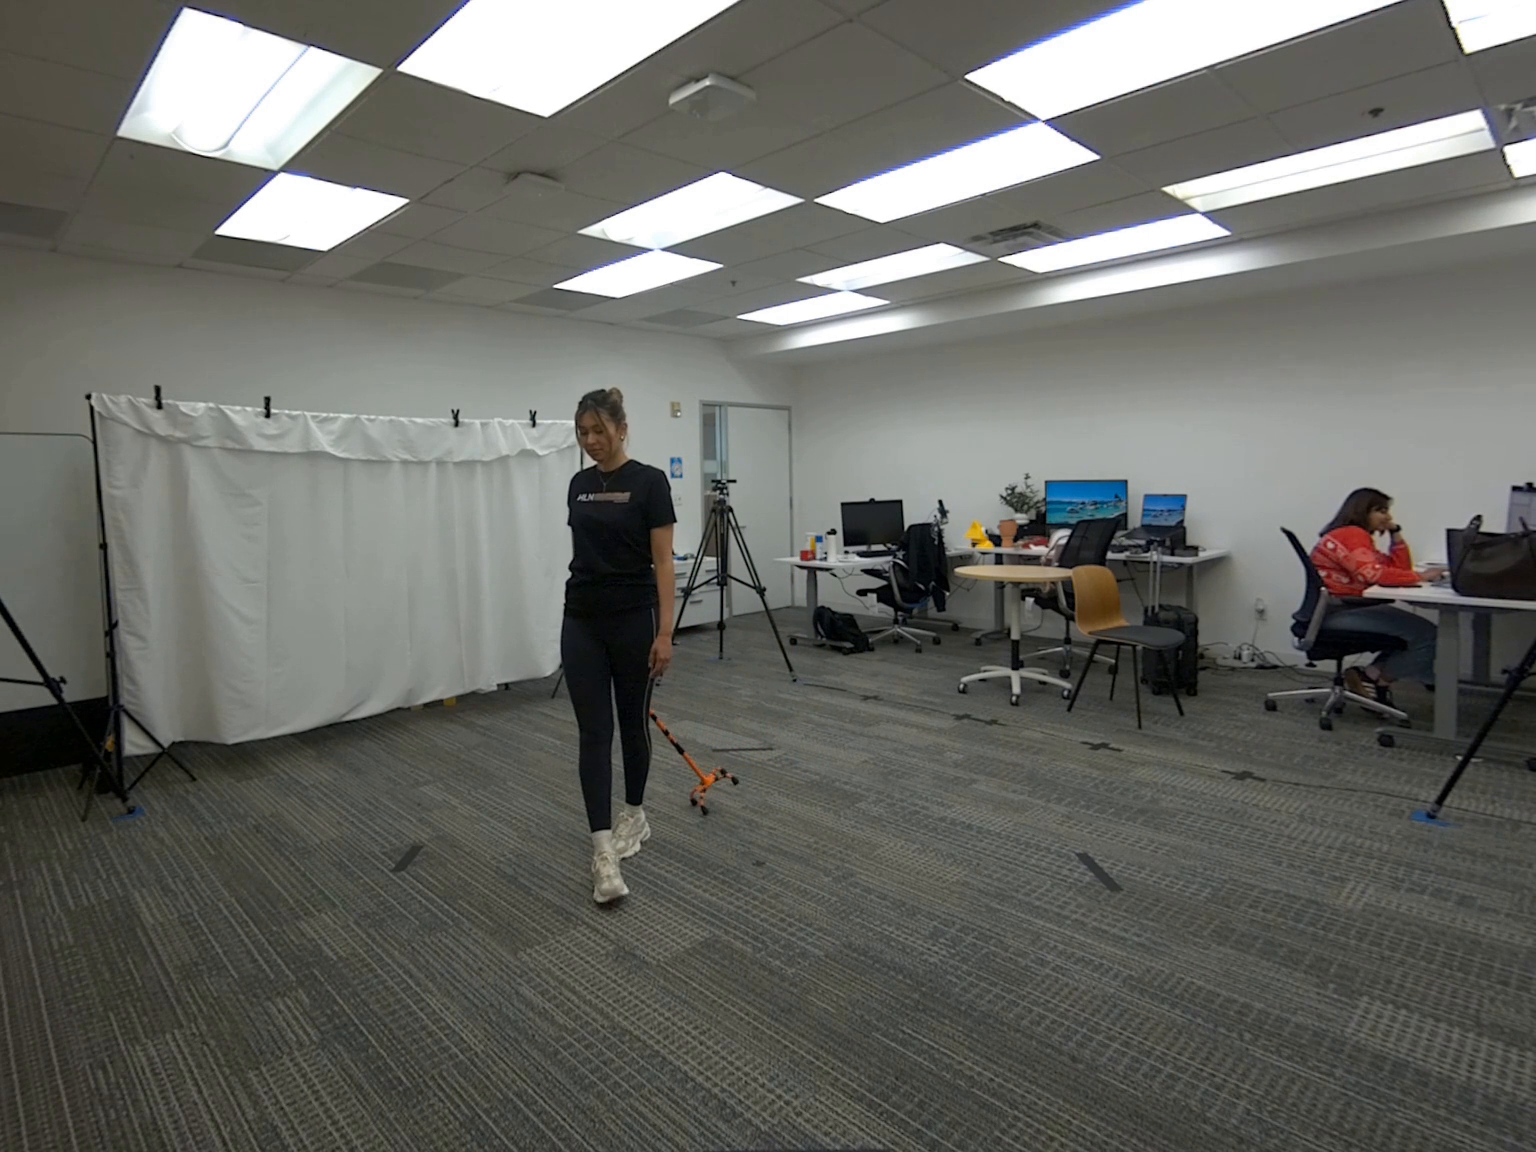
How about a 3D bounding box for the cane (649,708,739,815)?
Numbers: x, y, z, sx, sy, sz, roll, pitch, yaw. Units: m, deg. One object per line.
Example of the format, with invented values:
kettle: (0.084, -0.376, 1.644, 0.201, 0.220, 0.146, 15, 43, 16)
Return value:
cane: (-0.466, 0.579, 3.539, 0.206, 0.890, 0.155, -40, 16, -18)
